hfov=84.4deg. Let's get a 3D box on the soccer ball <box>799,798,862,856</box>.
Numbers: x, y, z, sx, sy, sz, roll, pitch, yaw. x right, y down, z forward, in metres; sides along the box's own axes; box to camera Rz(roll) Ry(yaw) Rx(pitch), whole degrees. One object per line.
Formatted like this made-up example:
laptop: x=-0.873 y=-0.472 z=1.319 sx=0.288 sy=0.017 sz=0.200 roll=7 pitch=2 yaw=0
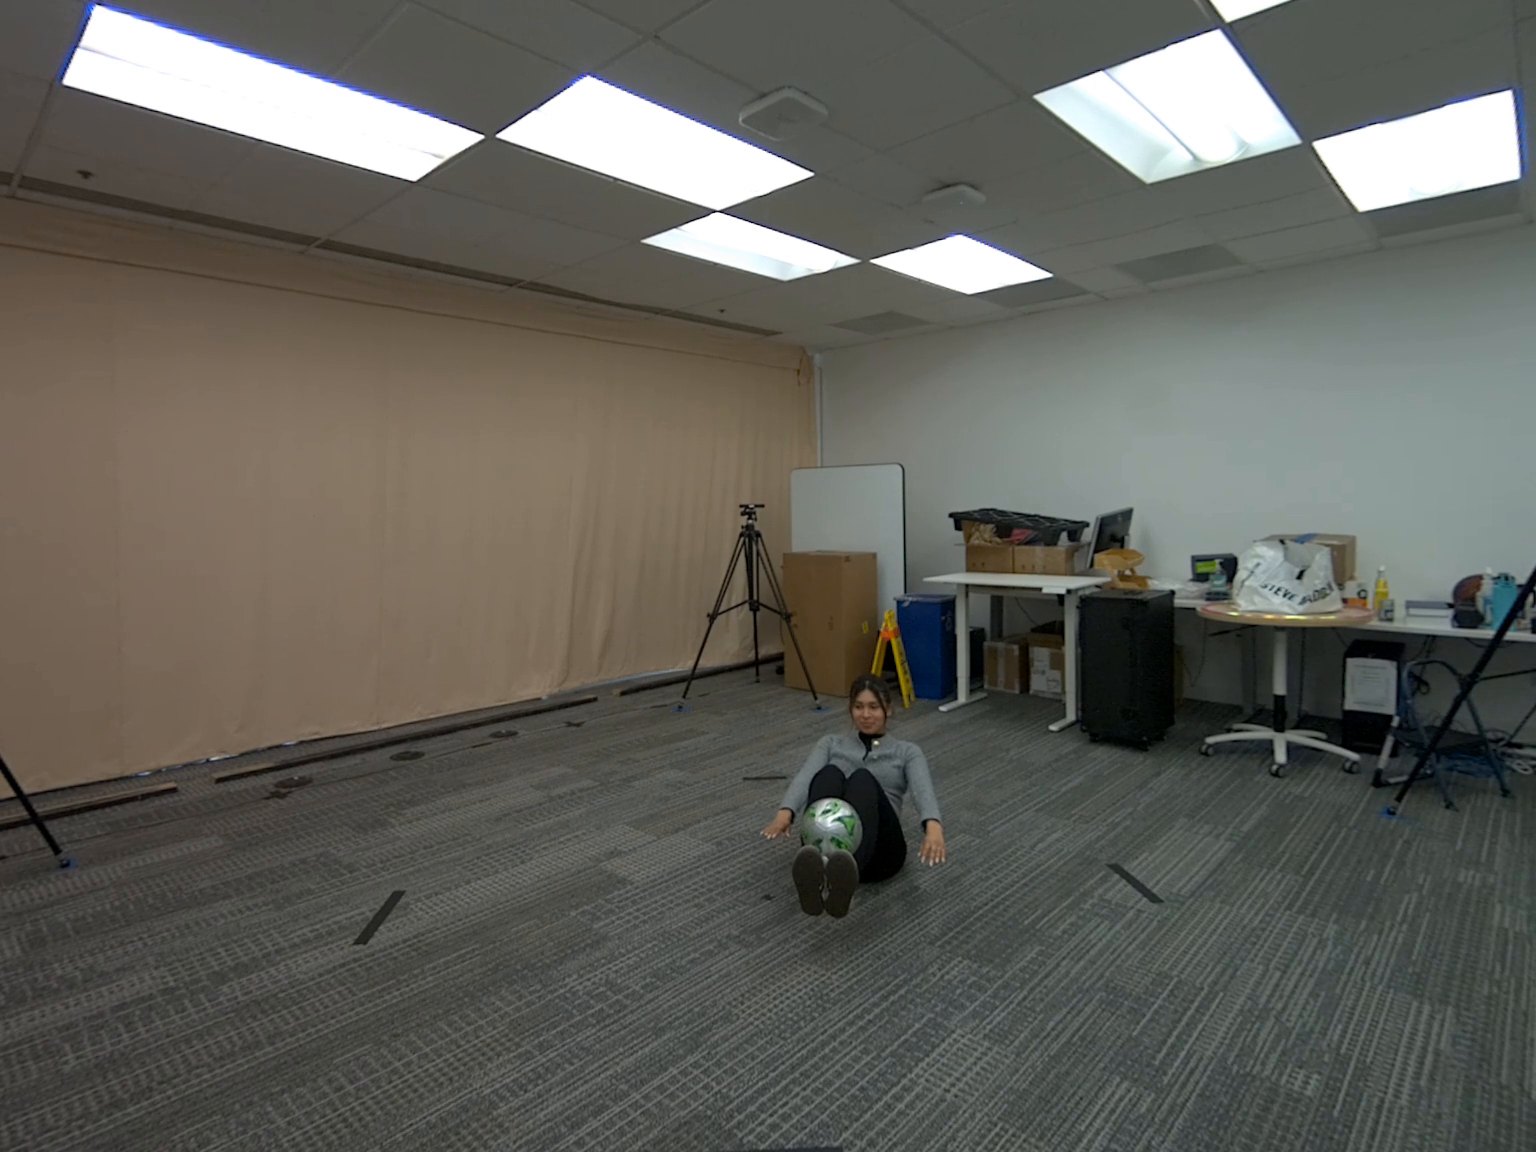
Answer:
soccer ball: x=0.200 y=0.782 z=2.585 sx=0.187 sy=0.187 sz=0.188 roll=-1 pitch=4 yaw=-2
